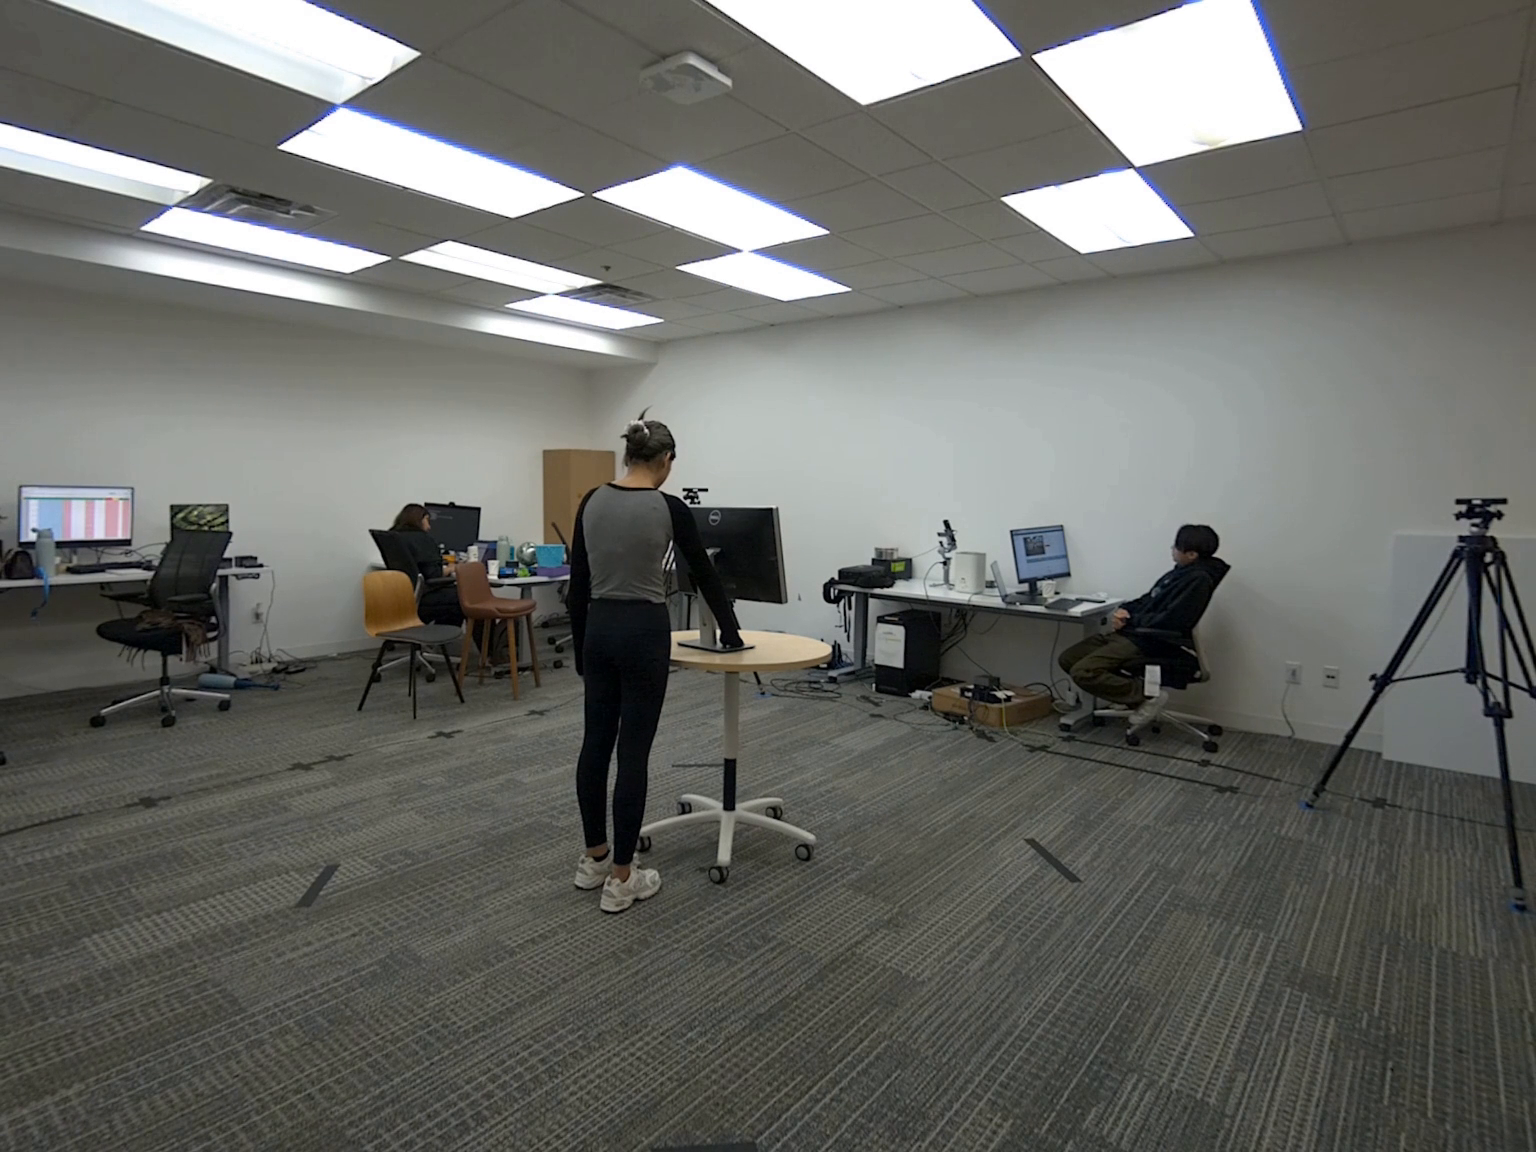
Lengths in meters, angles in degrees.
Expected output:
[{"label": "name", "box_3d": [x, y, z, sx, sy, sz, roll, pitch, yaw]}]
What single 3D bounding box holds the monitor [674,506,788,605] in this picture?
[{"label": "monitor", "box_3d": [-0.201, 0.000, 3.249, 0.557, 0.522, 0.181, 4, 2, 40]}]
